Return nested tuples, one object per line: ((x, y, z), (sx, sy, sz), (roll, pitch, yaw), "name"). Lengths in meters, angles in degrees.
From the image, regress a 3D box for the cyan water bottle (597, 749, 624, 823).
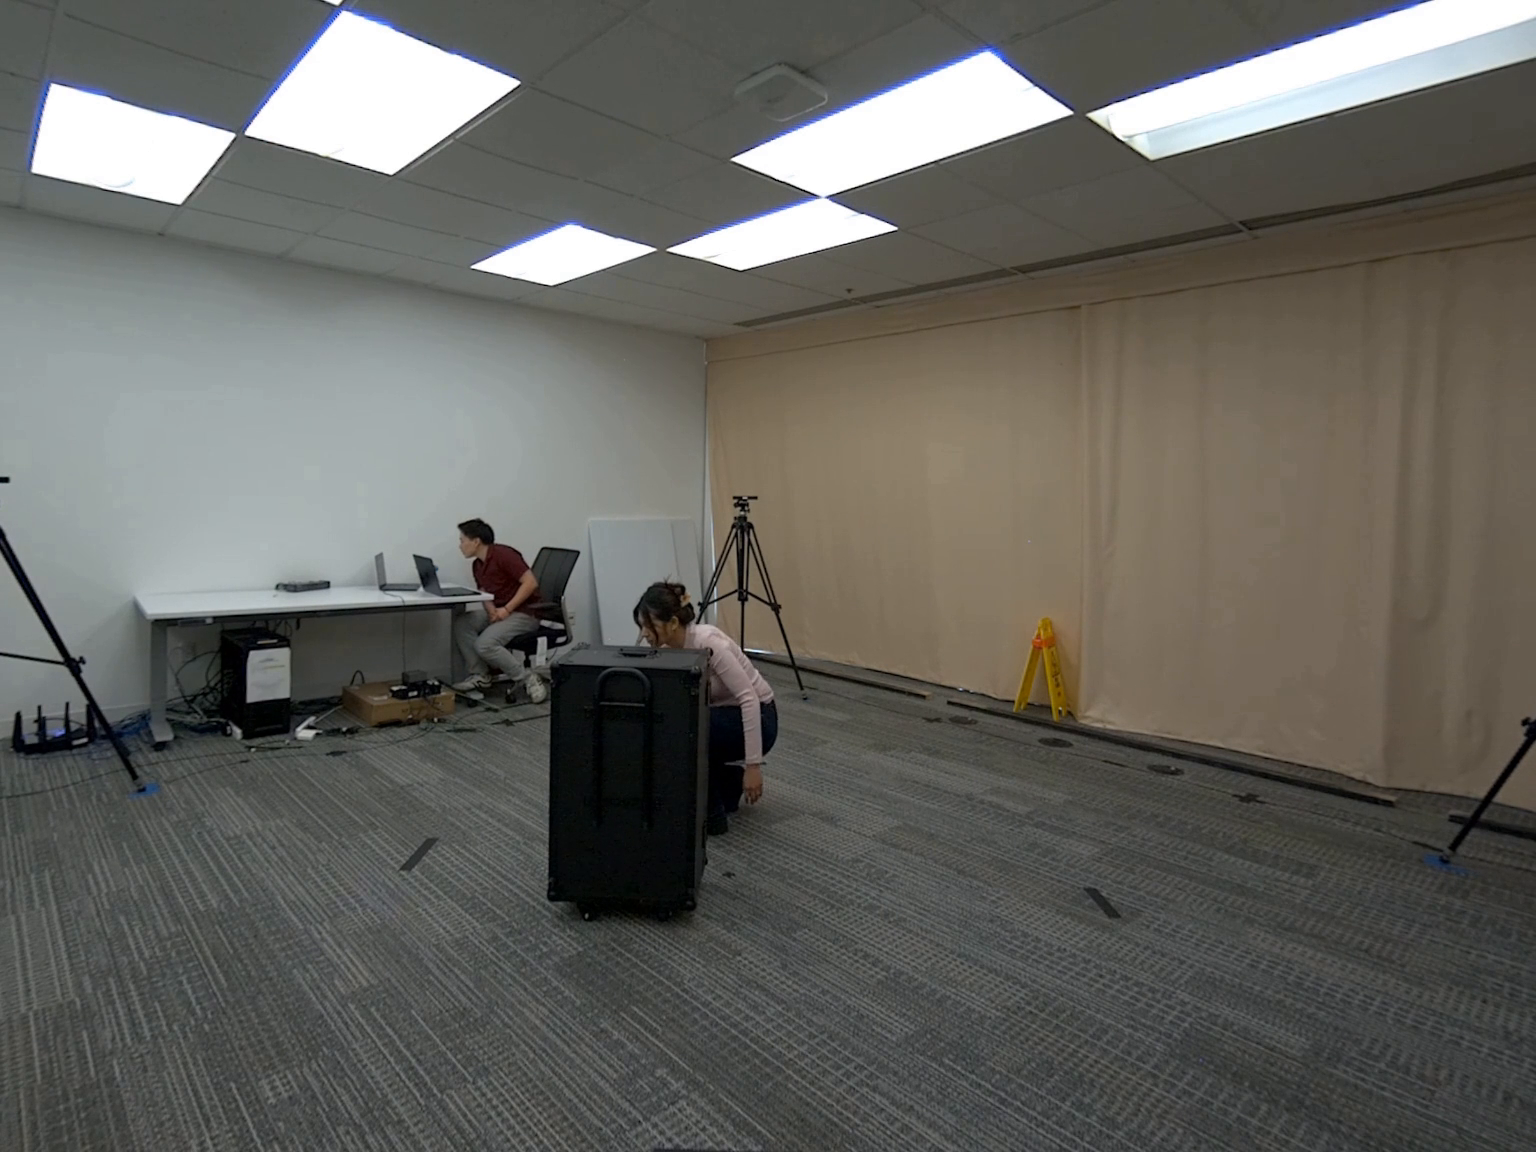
((-0.680, 0.898, 3.640), (0.092, 0.283, 0.092), (2, 2, -1), "cyan water bottle")
